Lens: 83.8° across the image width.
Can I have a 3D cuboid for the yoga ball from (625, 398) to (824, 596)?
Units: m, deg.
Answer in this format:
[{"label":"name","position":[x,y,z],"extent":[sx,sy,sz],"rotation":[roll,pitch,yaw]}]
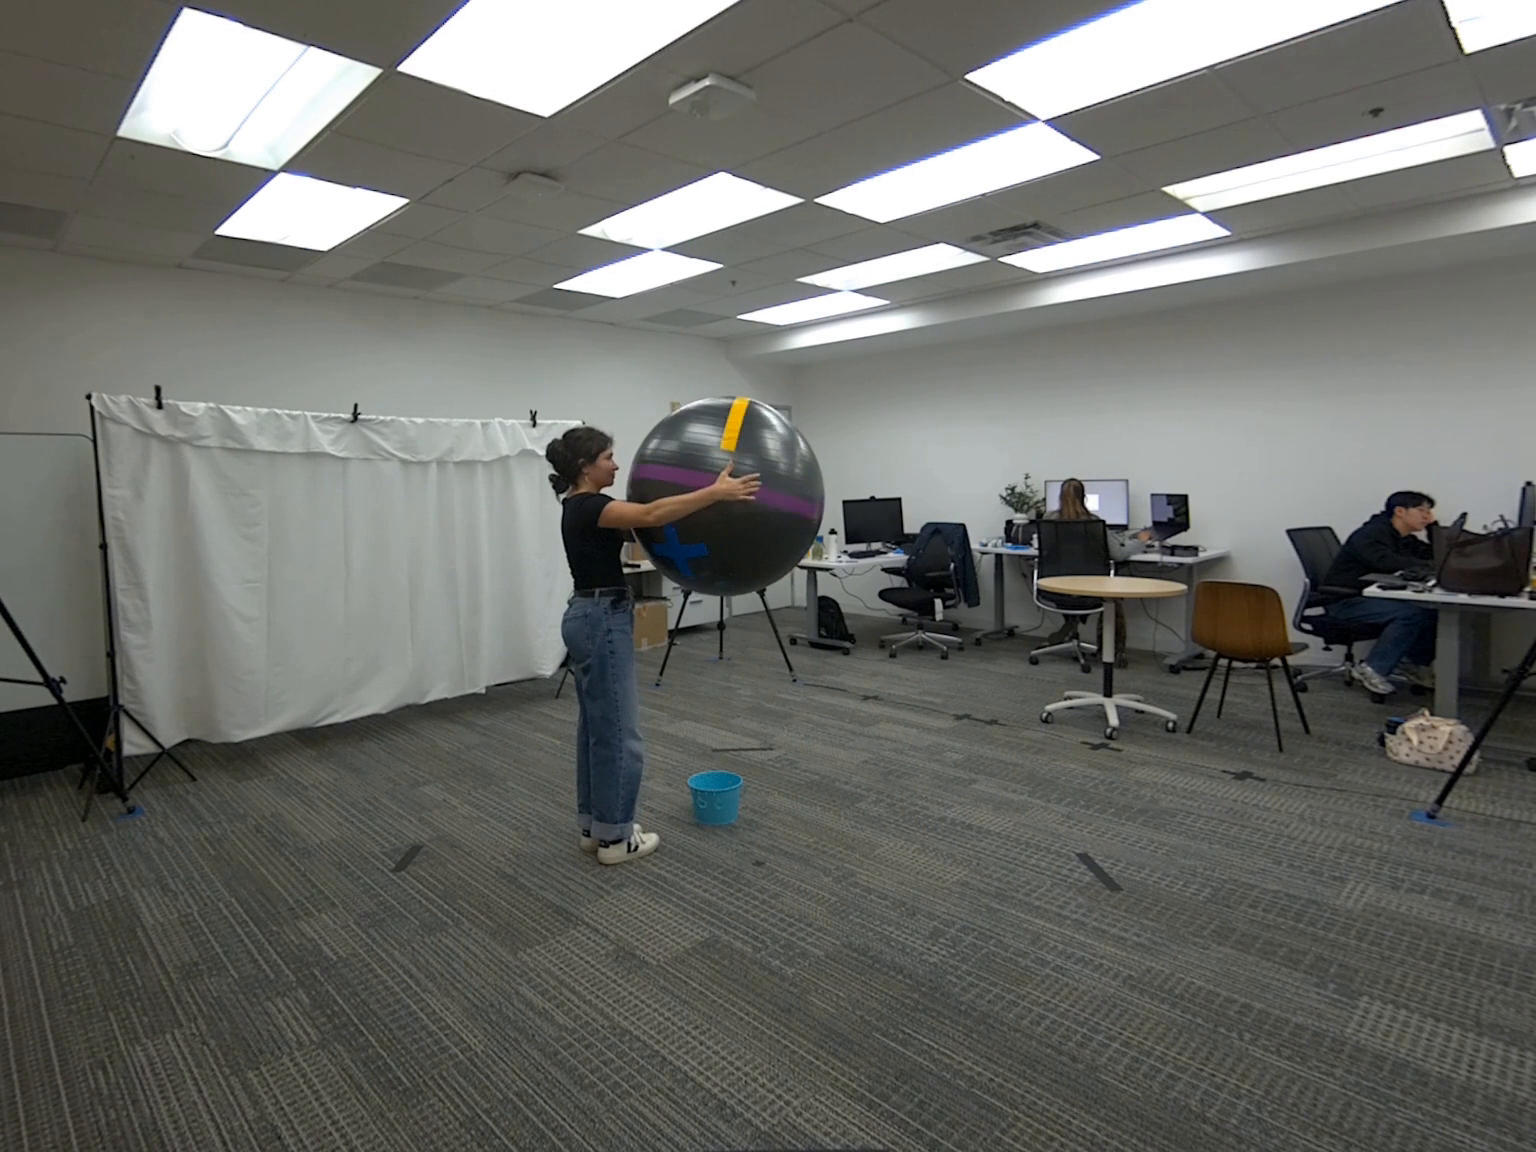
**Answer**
[{"label":"yoga ball","position":[-0.153,-0.296,3.276],"extent":[0.757,0.755,0.762],"rotation":[-1,5,-2]}]
